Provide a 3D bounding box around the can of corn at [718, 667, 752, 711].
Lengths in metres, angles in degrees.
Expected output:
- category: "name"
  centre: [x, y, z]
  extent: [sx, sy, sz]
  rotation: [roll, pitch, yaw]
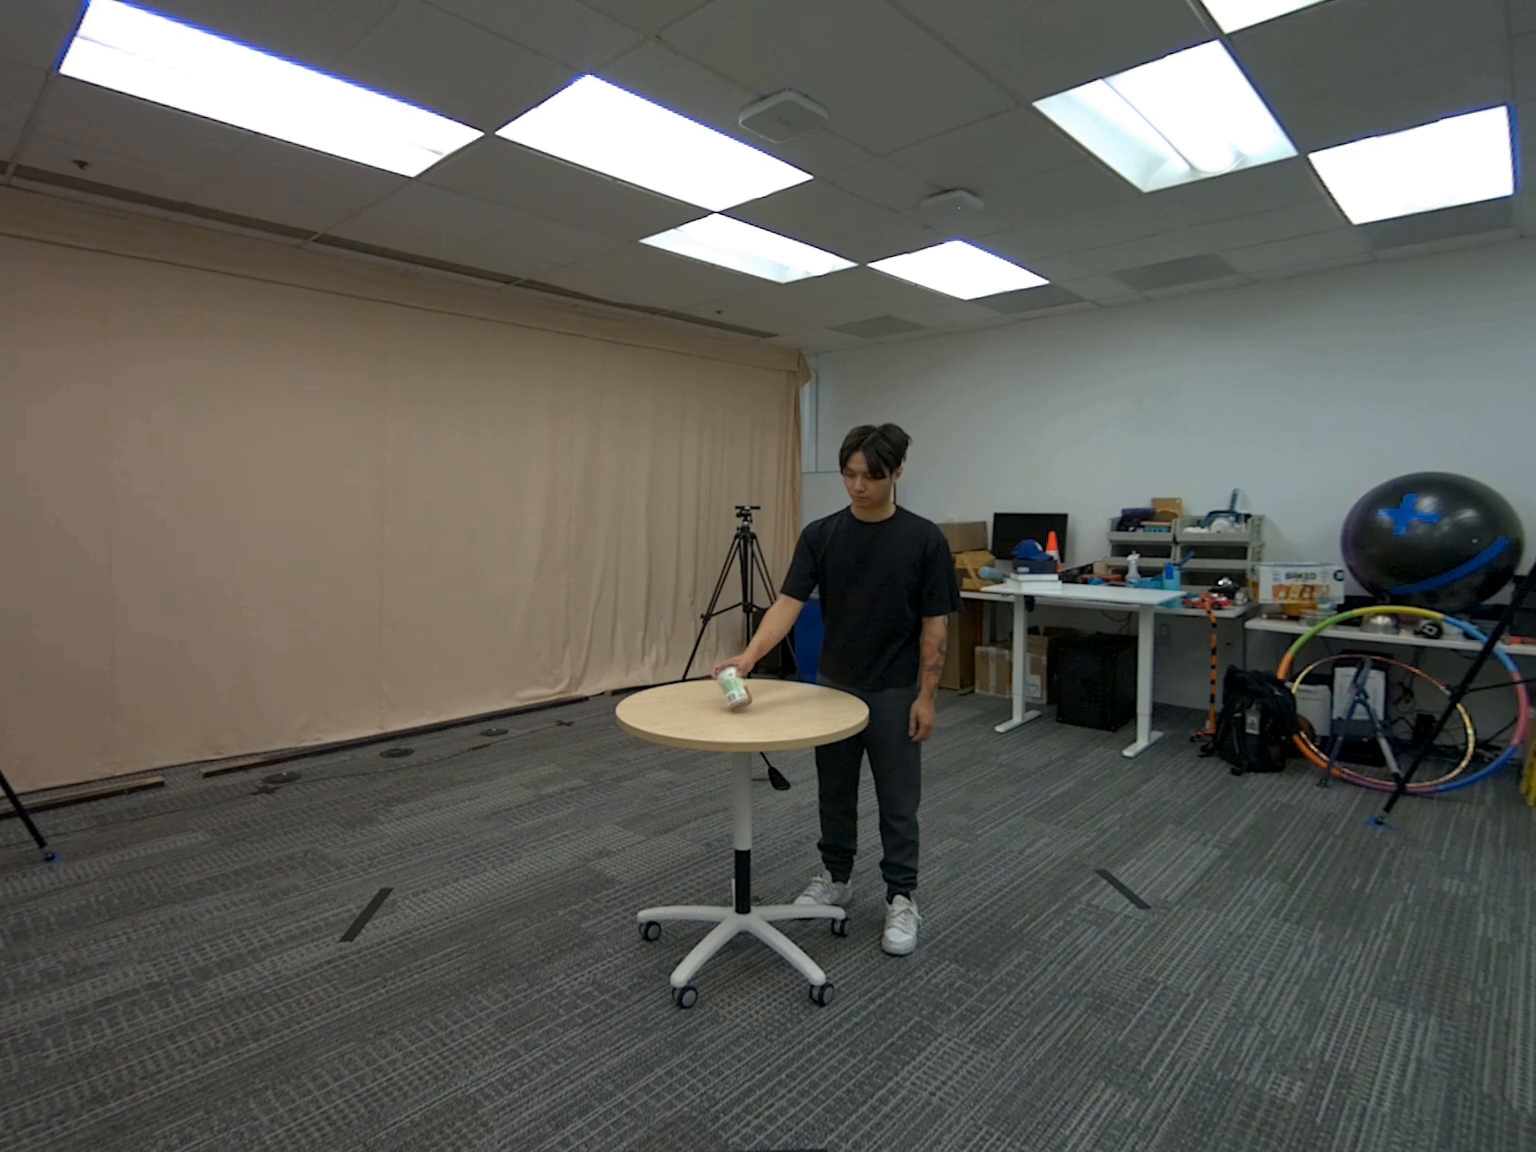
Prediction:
- category: "can of corn"
  centre: [-0.104, 0.336, 2.510]
  extent: [0.074, 0.113, 0.073]
  rotation: [-17, -22, -9]
